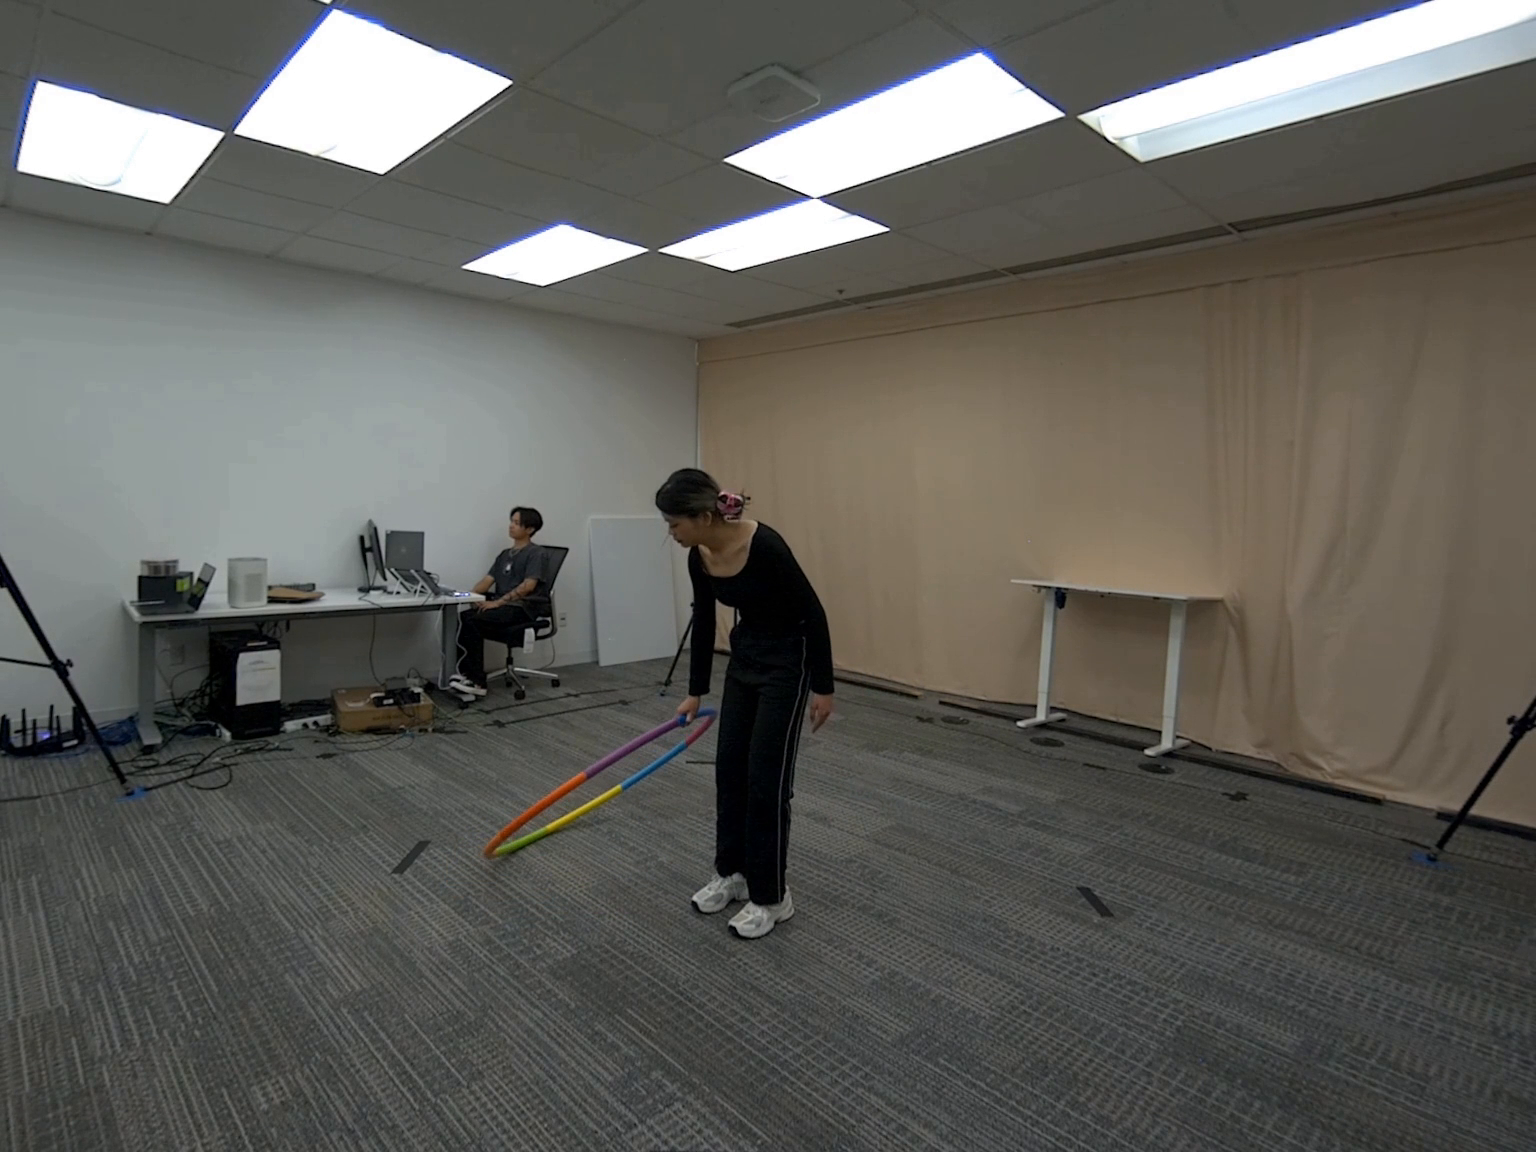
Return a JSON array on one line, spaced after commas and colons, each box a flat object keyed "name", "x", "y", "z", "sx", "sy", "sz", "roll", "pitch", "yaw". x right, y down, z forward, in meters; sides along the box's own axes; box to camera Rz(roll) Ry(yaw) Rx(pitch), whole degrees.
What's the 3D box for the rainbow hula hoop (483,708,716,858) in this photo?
[{"name": "rainbow hula hoop", "x": -0.613, "y": 0.768, "z": 3.166, "sx": 0.975, "sy": 0.036, "sz": 0.967, "roll": -31, "pitch": -13, "yaw": -10}]
